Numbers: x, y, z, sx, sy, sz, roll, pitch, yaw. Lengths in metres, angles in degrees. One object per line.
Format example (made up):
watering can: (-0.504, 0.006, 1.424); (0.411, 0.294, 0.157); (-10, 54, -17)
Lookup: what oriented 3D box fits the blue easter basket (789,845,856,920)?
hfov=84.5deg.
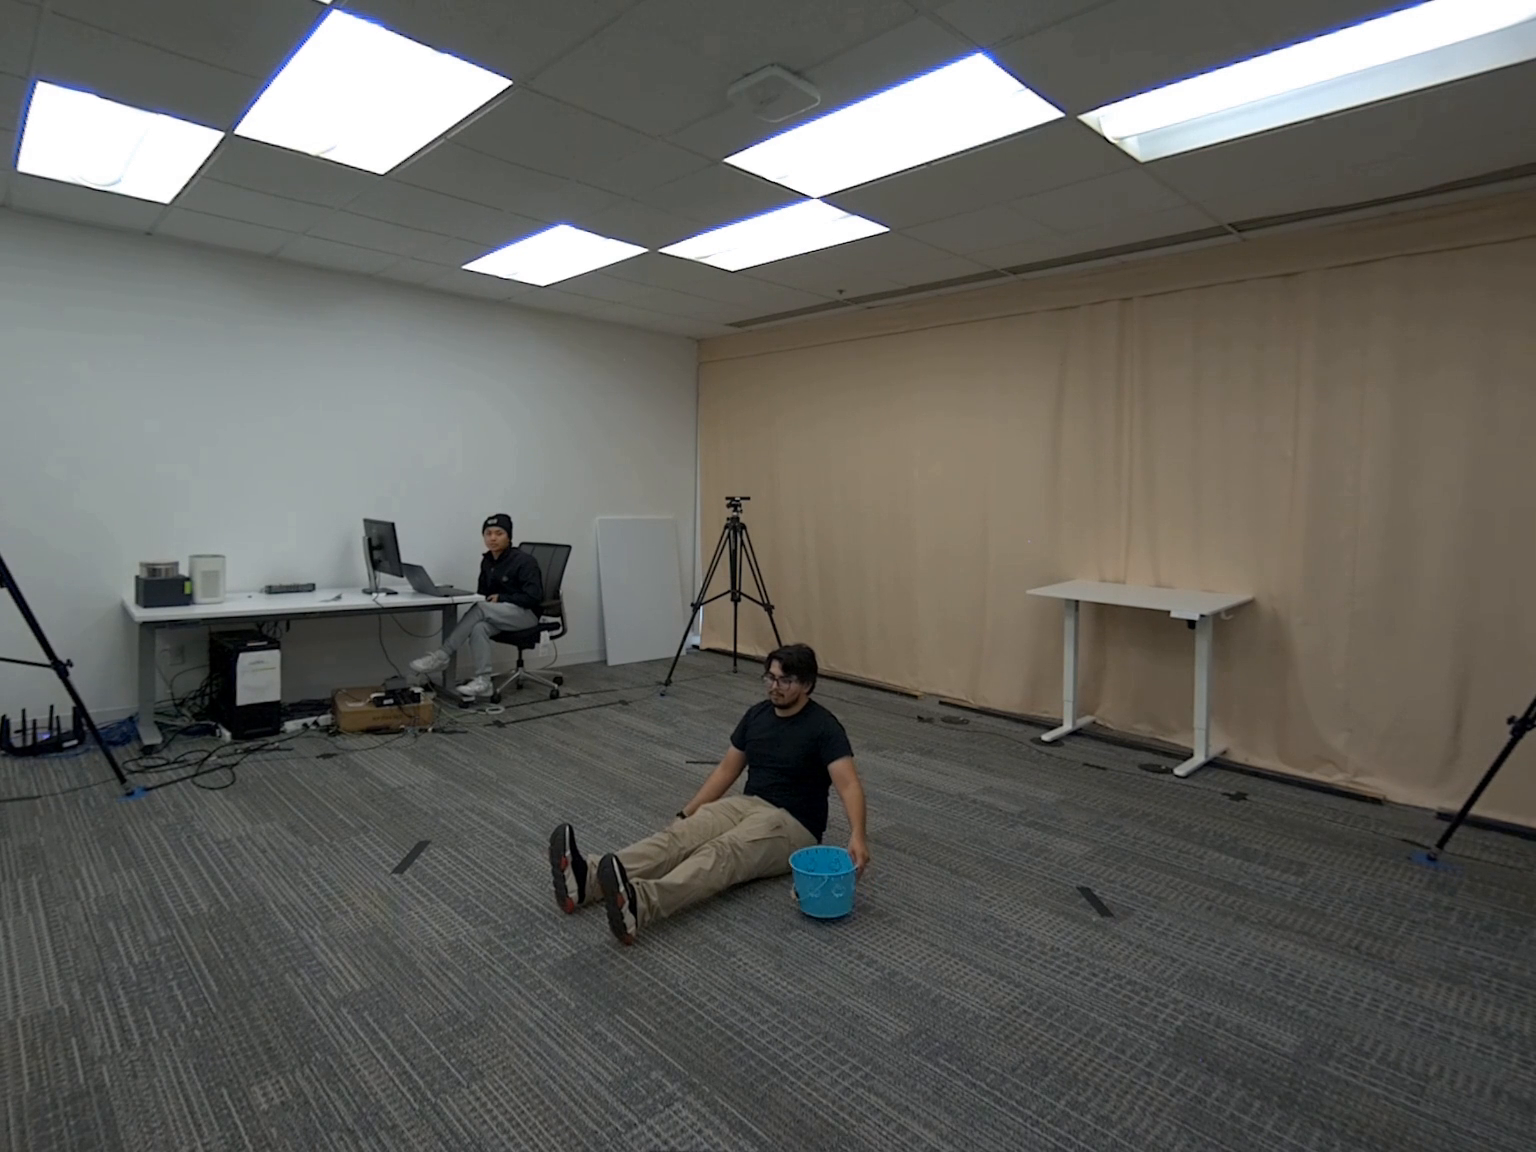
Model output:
blue easter basket: (0.167, 1.021, 2.824); (0.243, 0.155, 0.244); (-1, 4, -1)
